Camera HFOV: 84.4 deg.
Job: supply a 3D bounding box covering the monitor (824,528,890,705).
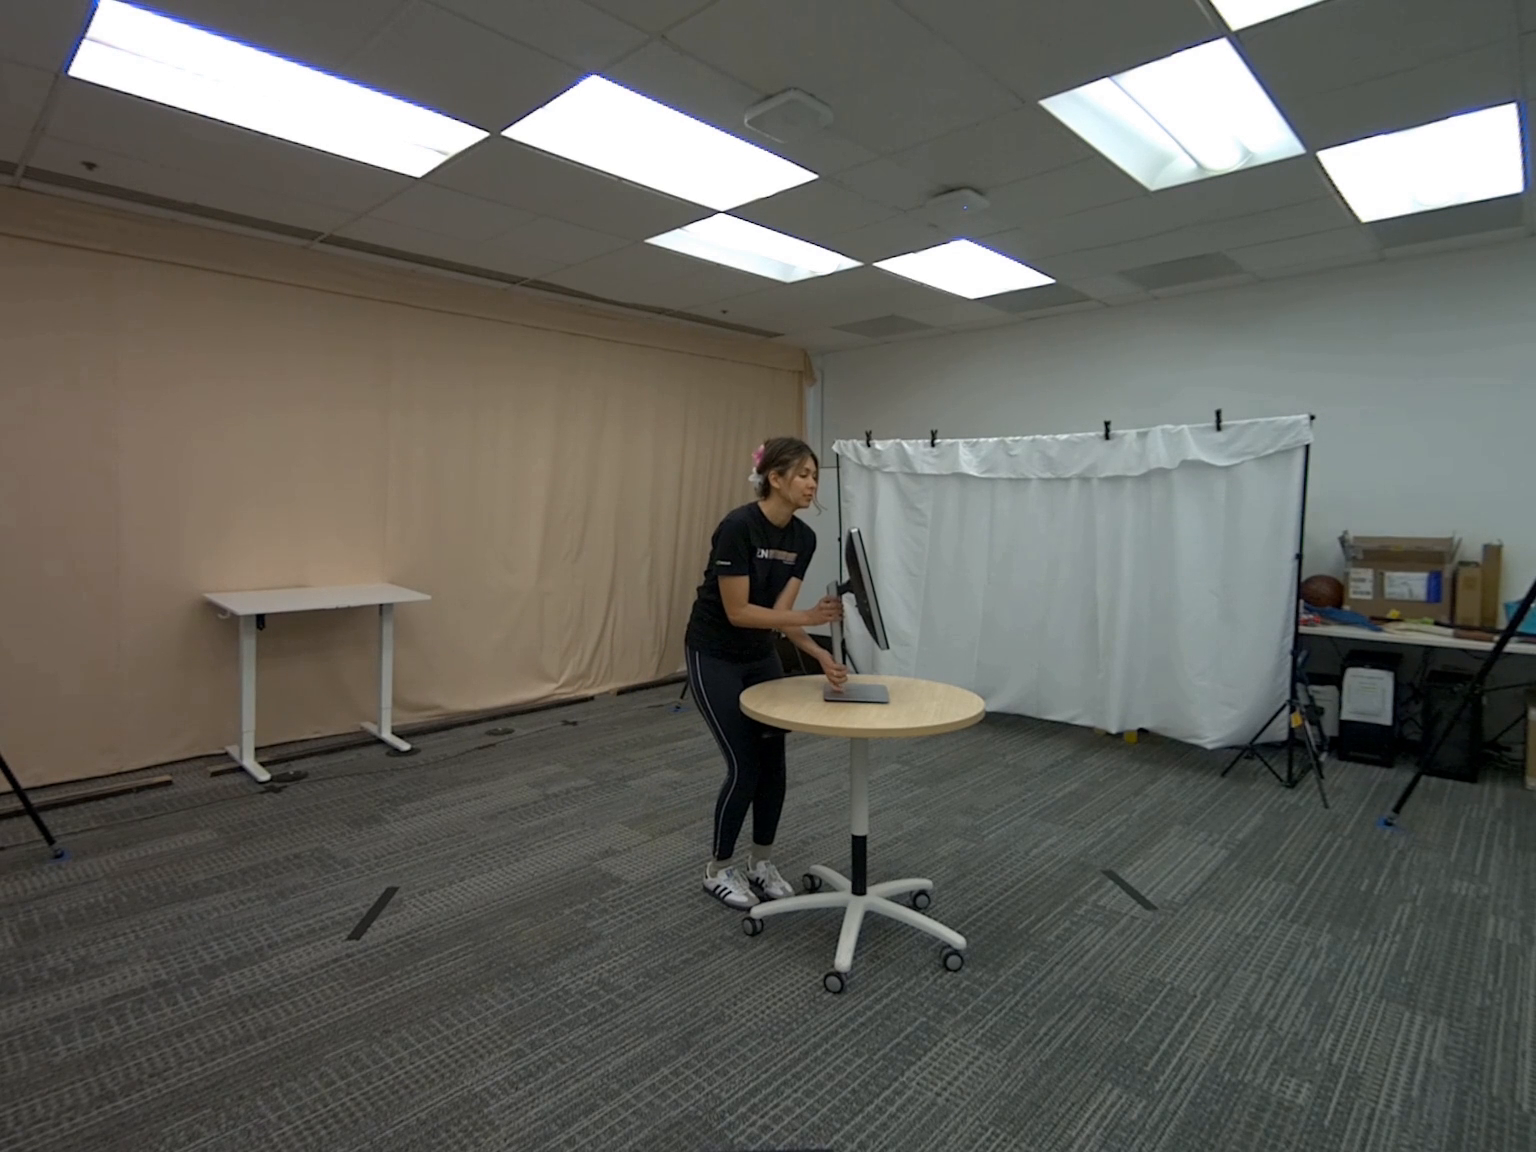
[{"bbox_3d":[0.285,0.123,2.719,0.188,0.522,0.537,0,3,3],"label":"monitor"}]
